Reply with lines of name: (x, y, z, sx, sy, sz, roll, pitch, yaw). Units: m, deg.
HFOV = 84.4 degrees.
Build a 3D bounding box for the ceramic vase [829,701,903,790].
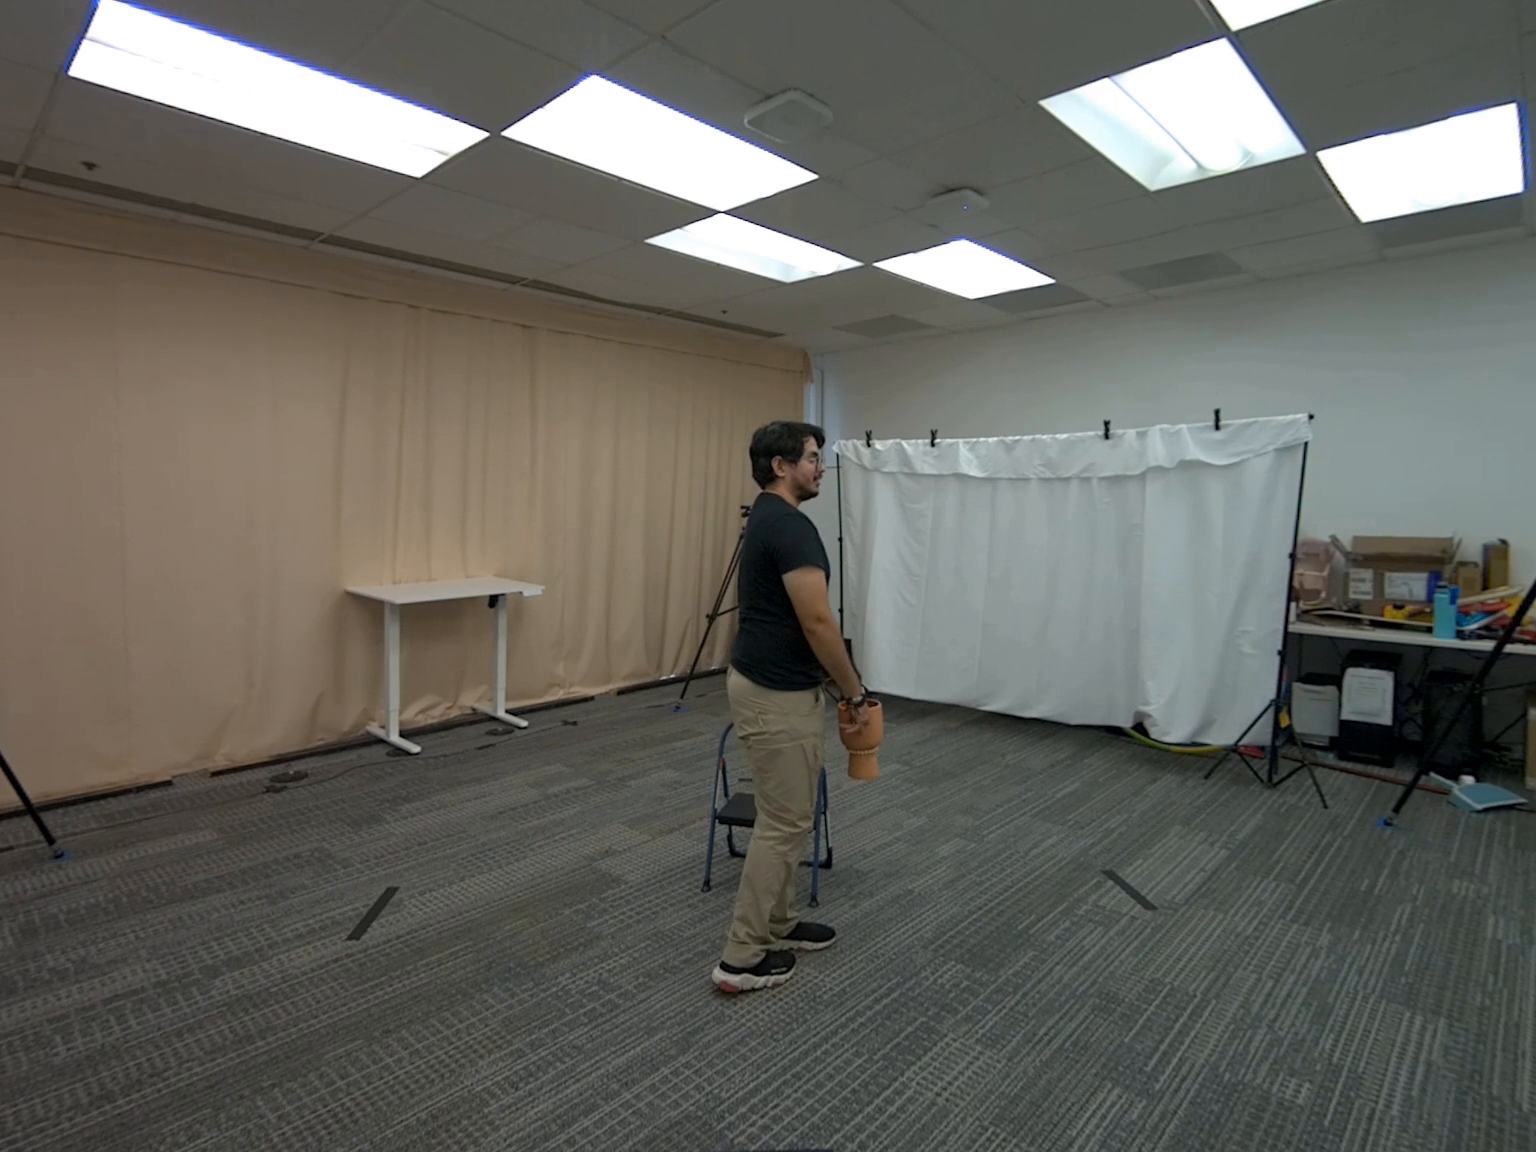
ceramic vase: (0.295, 0.505, 2.563, 0.154, 0.219, 0.139, -6, 2, -44)
